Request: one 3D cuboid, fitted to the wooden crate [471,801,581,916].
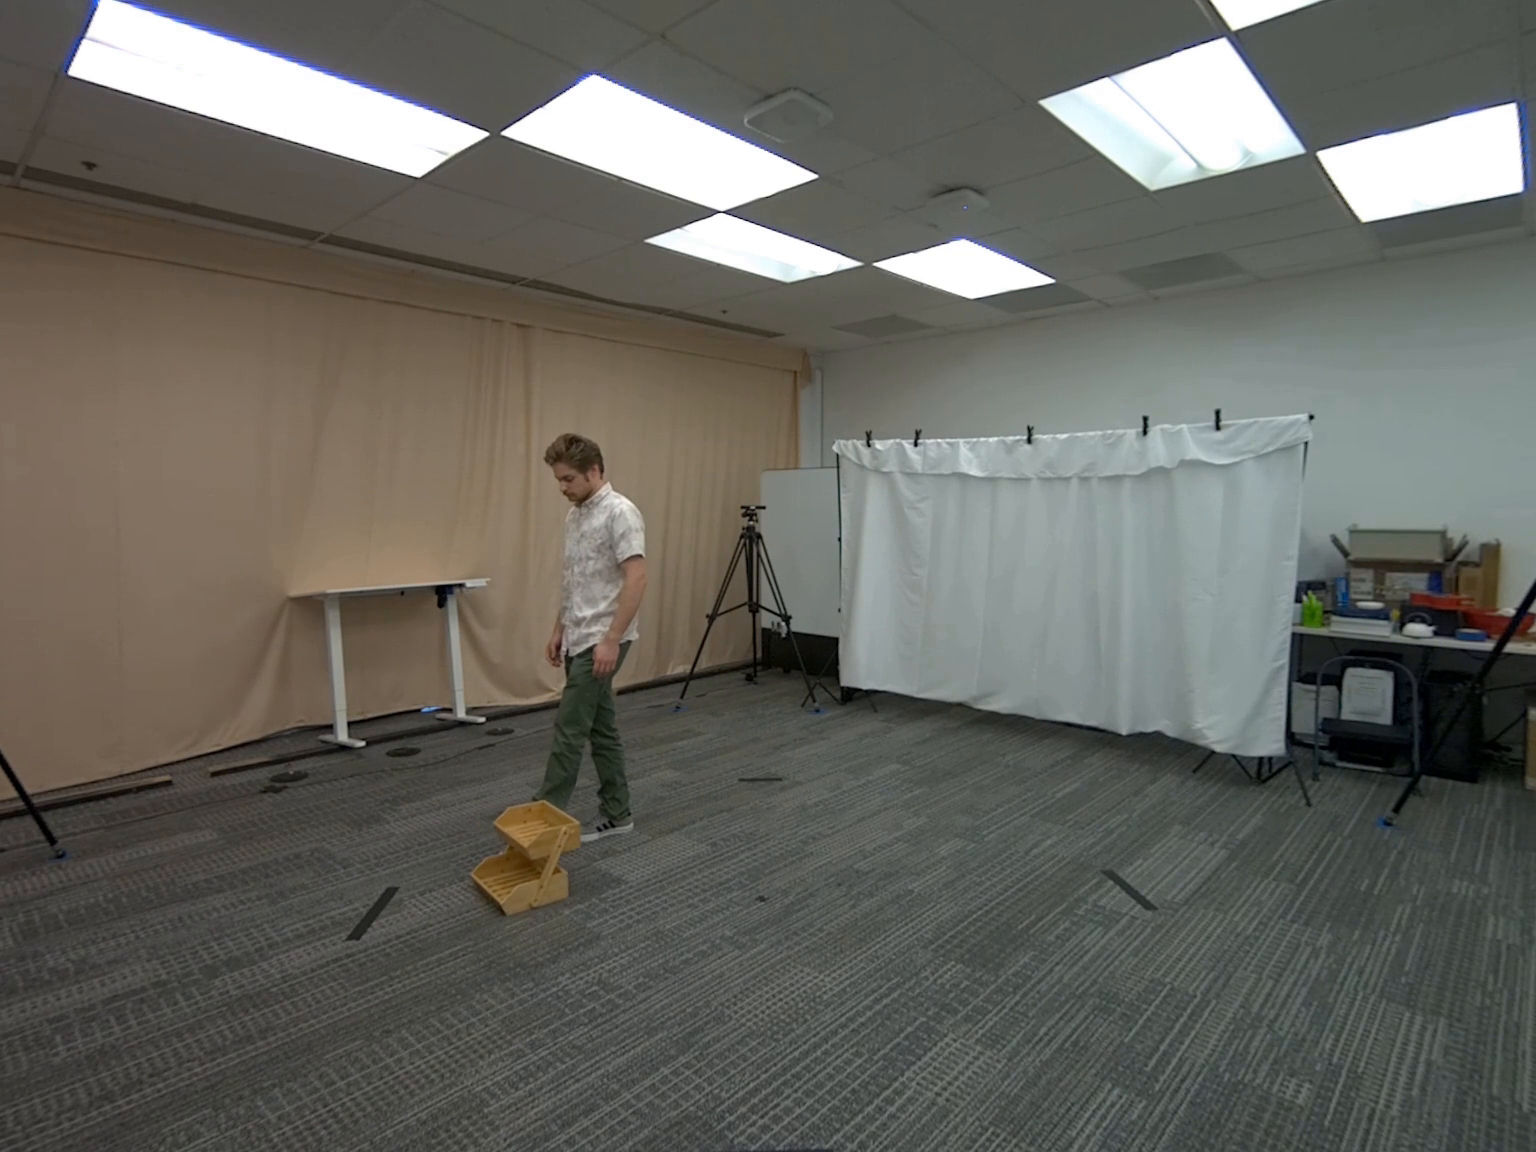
[{"bbox_3d":[-0.885,1.009,3.060,0.293,0.273,0.335,-2,4,-39],"label":"wooden crate"}]
